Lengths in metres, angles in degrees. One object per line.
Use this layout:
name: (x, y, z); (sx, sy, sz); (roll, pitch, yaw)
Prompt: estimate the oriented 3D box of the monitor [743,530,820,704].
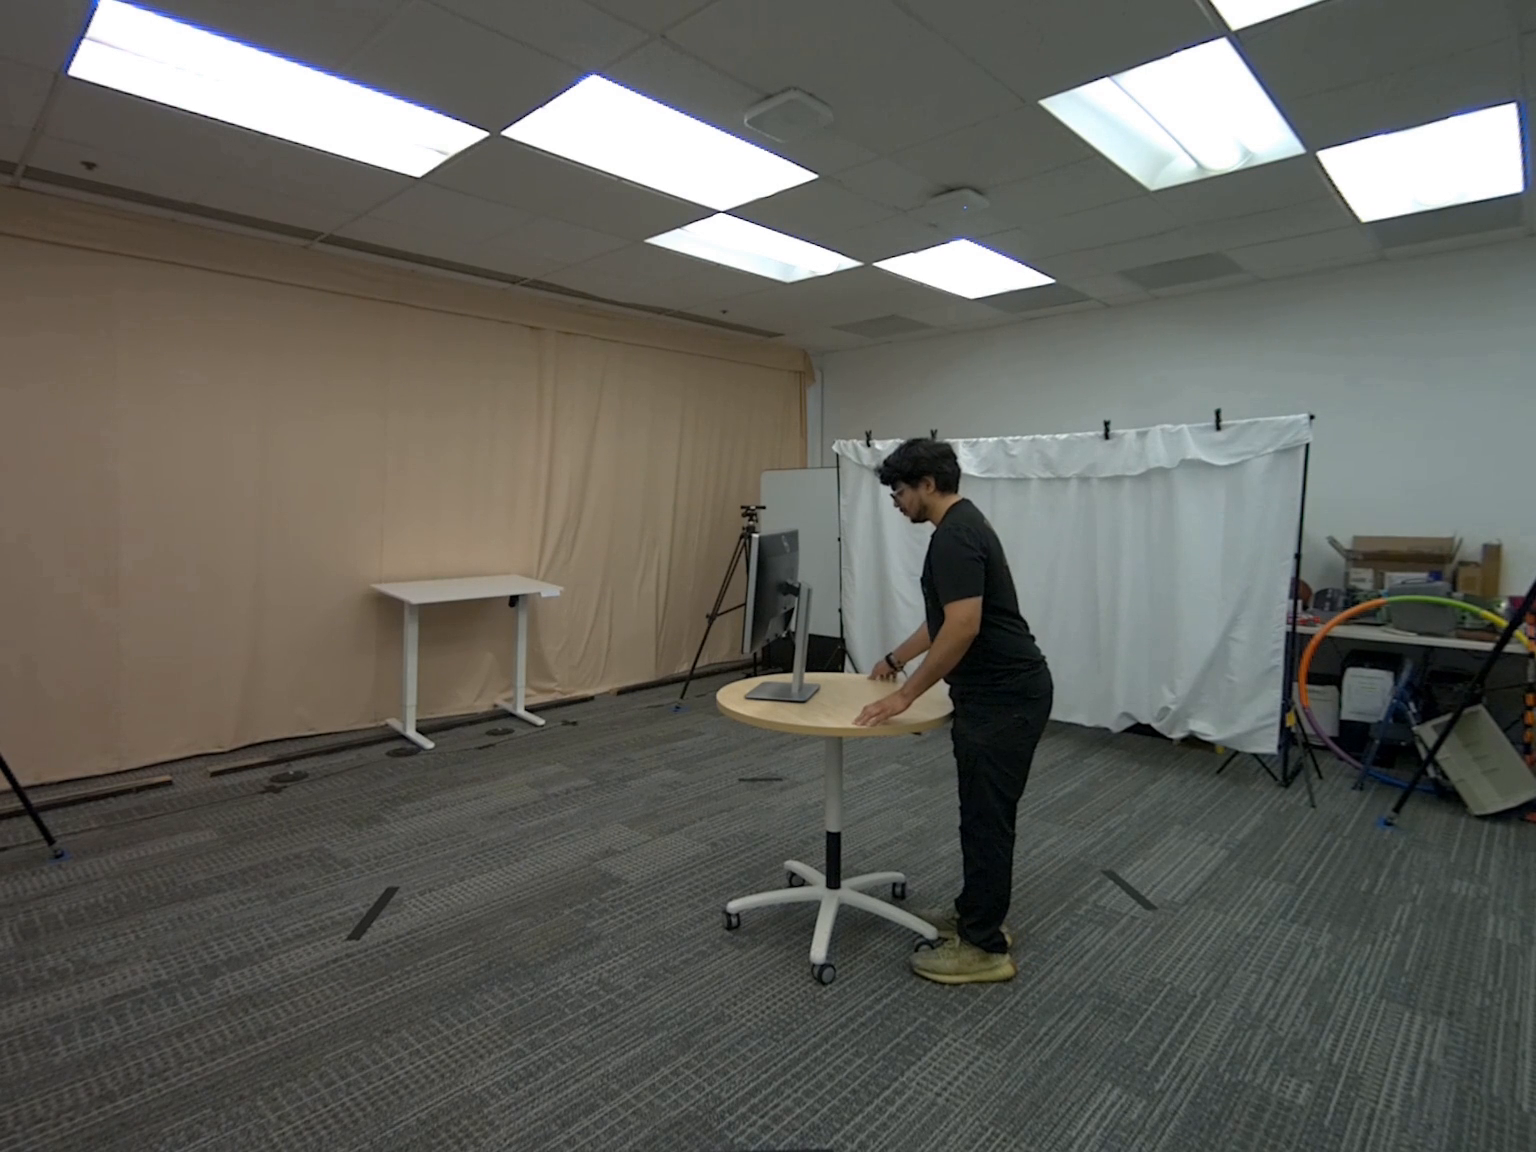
monitor: (0.080, 0.131, 2.750); (0.214, 0.552, 0.556); (4, 5, 15)
